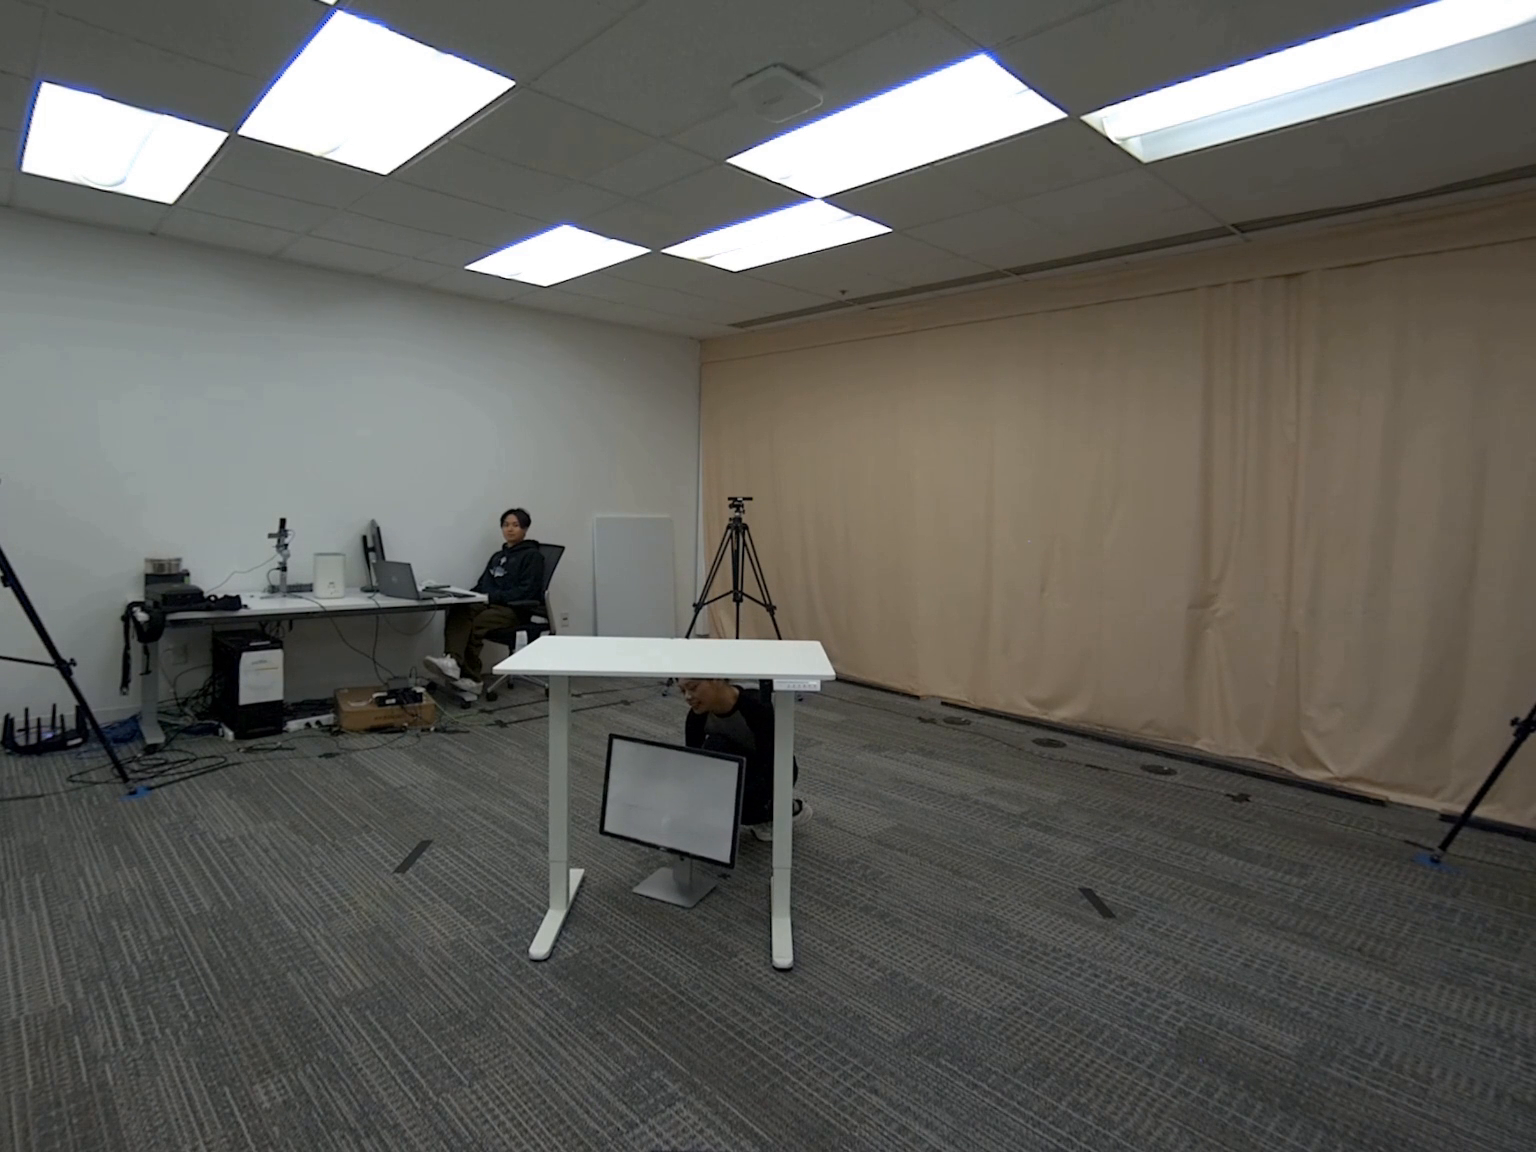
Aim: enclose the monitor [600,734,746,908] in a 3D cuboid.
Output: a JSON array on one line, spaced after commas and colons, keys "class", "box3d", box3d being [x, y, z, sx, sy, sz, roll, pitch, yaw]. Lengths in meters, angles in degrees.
[{"class": "monitor", "box3d": [-0.338, 0.857, 2.970, 0.550, 0.520, 0.184, 3, 6, 27]}]
